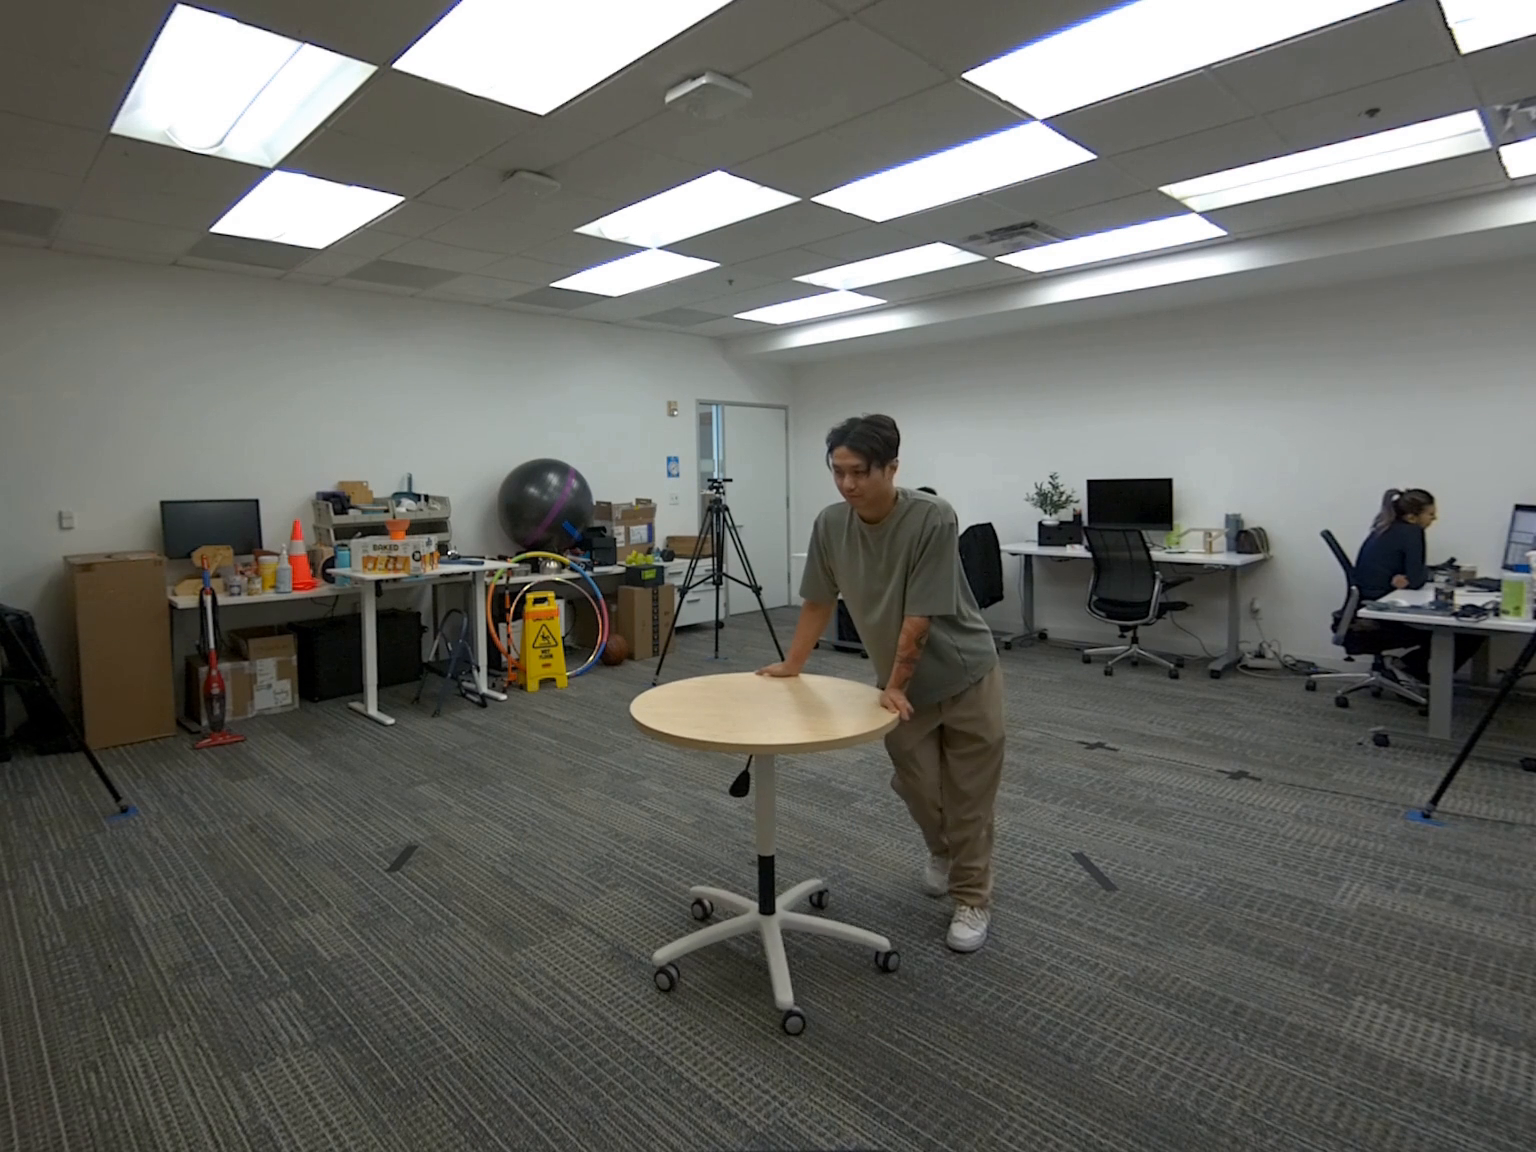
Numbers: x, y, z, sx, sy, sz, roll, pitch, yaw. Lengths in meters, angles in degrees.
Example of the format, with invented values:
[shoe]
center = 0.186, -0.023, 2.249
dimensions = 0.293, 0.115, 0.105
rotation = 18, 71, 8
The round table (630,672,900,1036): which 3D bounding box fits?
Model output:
[round table]
center = -0.002, 0.735, 2.491
dimensions = 0.784, 0.783, 0.789
rotation = -1, 5, -2
